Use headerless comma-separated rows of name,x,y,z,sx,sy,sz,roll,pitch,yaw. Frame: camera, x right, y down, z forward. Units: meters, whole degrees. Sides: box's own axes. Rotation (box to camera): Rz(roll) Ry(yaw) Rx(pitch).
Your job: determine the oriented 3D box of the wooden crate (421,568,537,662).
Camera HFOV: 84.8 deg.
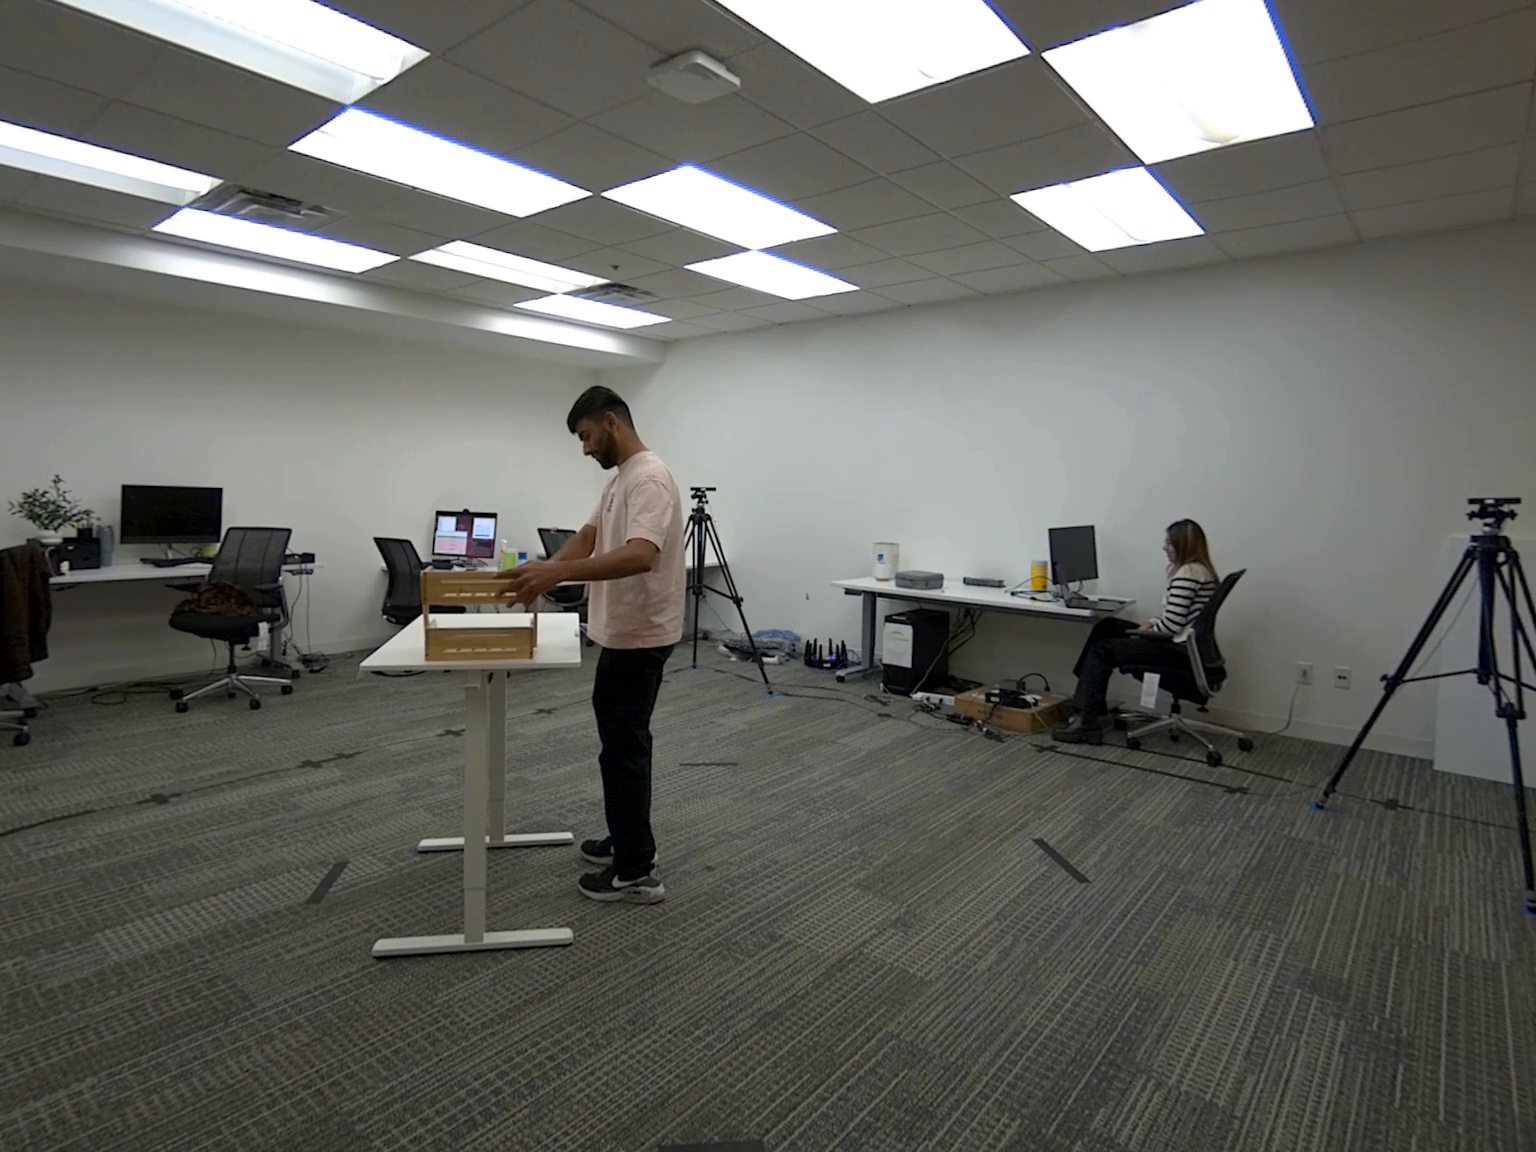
wooden crate,-0.868,0.094,2.545,0.321,0.271,0.307,0,8,-10
